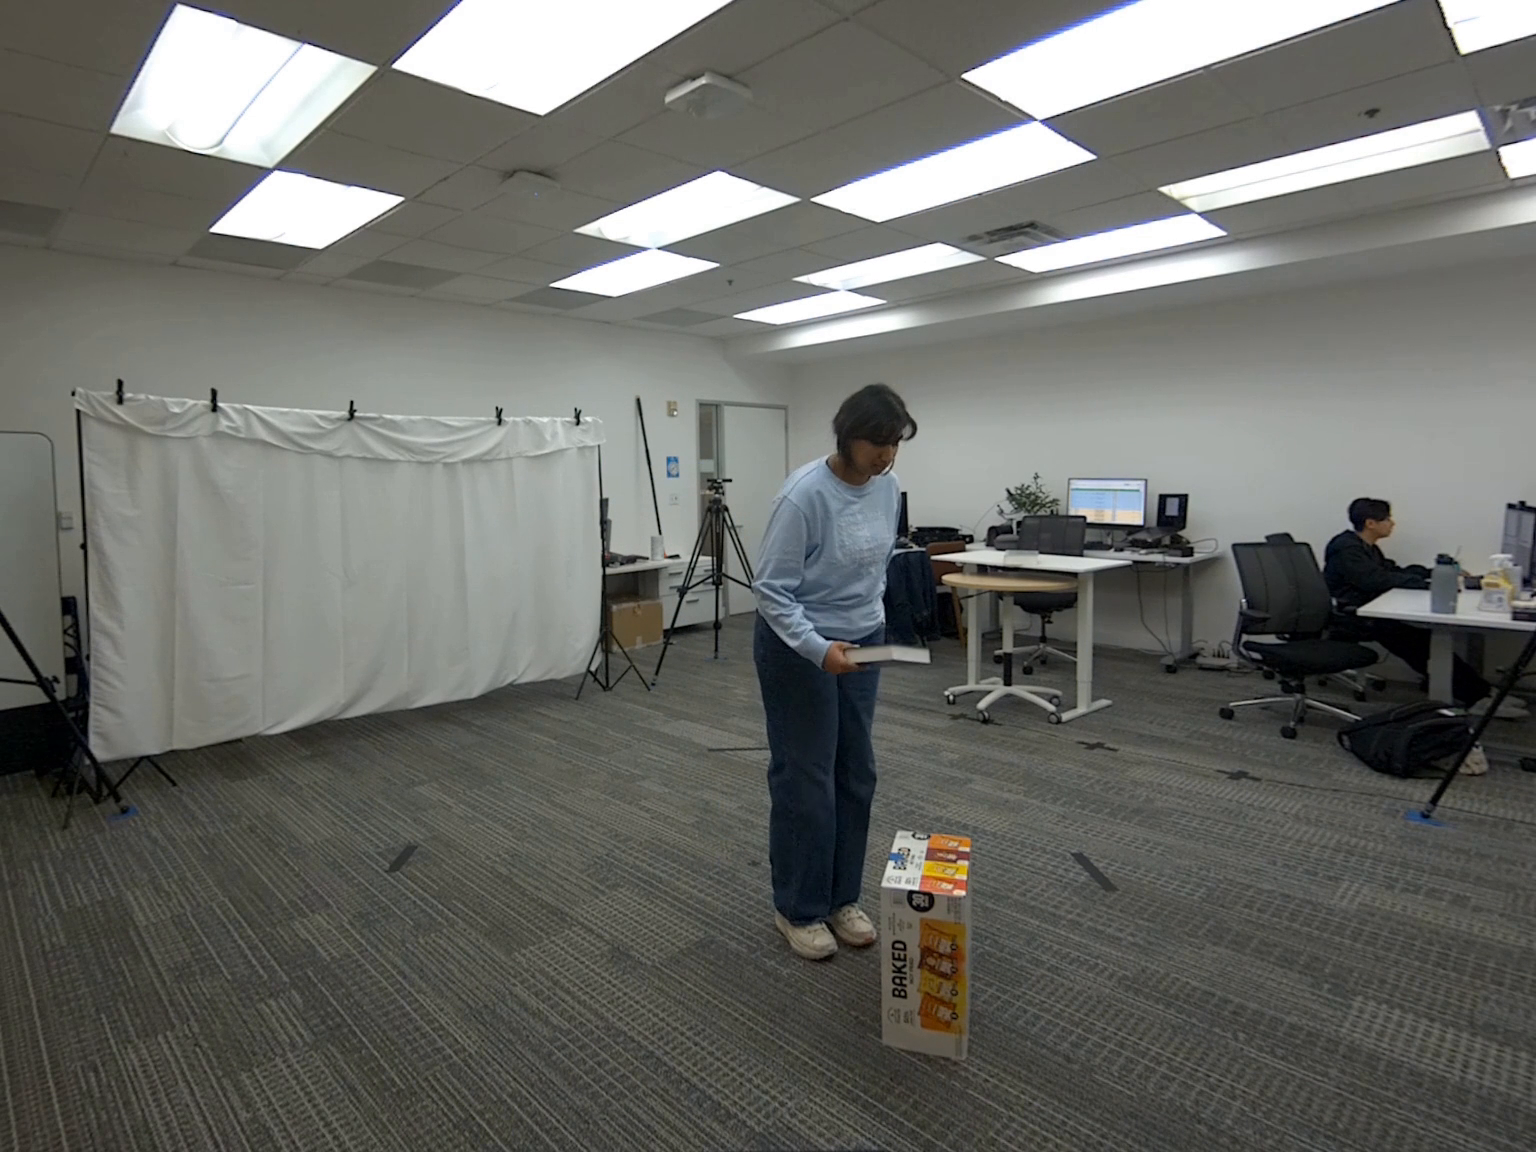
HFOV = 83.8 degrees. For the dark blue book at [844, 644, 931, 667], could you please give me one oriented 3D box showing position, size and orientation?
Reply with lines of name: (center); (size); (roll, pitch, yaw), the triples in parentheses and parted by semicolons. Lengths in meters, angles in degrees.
dark blue book: (0.291, 0.225, 2.320); (0.158, 0.045, 0.250); (8, -13, -41)
